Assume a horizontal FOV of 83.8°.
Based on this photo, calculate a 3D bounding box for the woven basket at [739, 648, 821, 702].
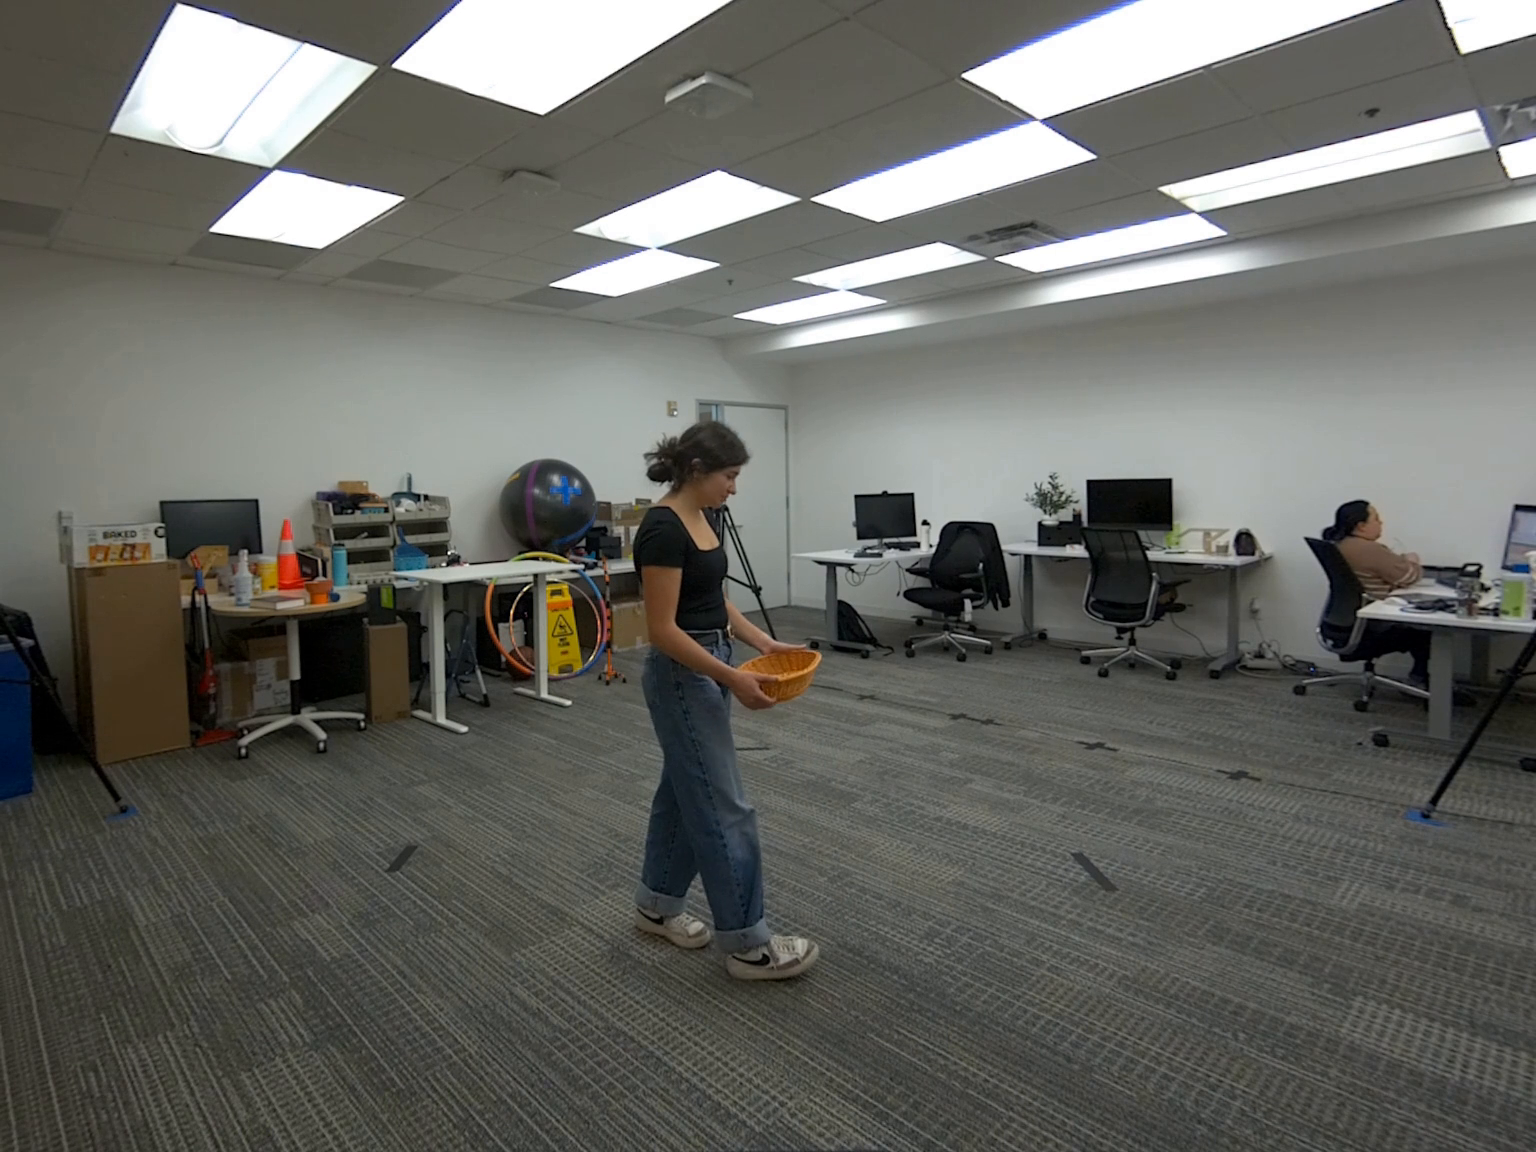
[{"bbox_3d":[0.006,0.289,2.403,0.258,0.073,0.345,-4,7,25],"label":"woven basket"}]
